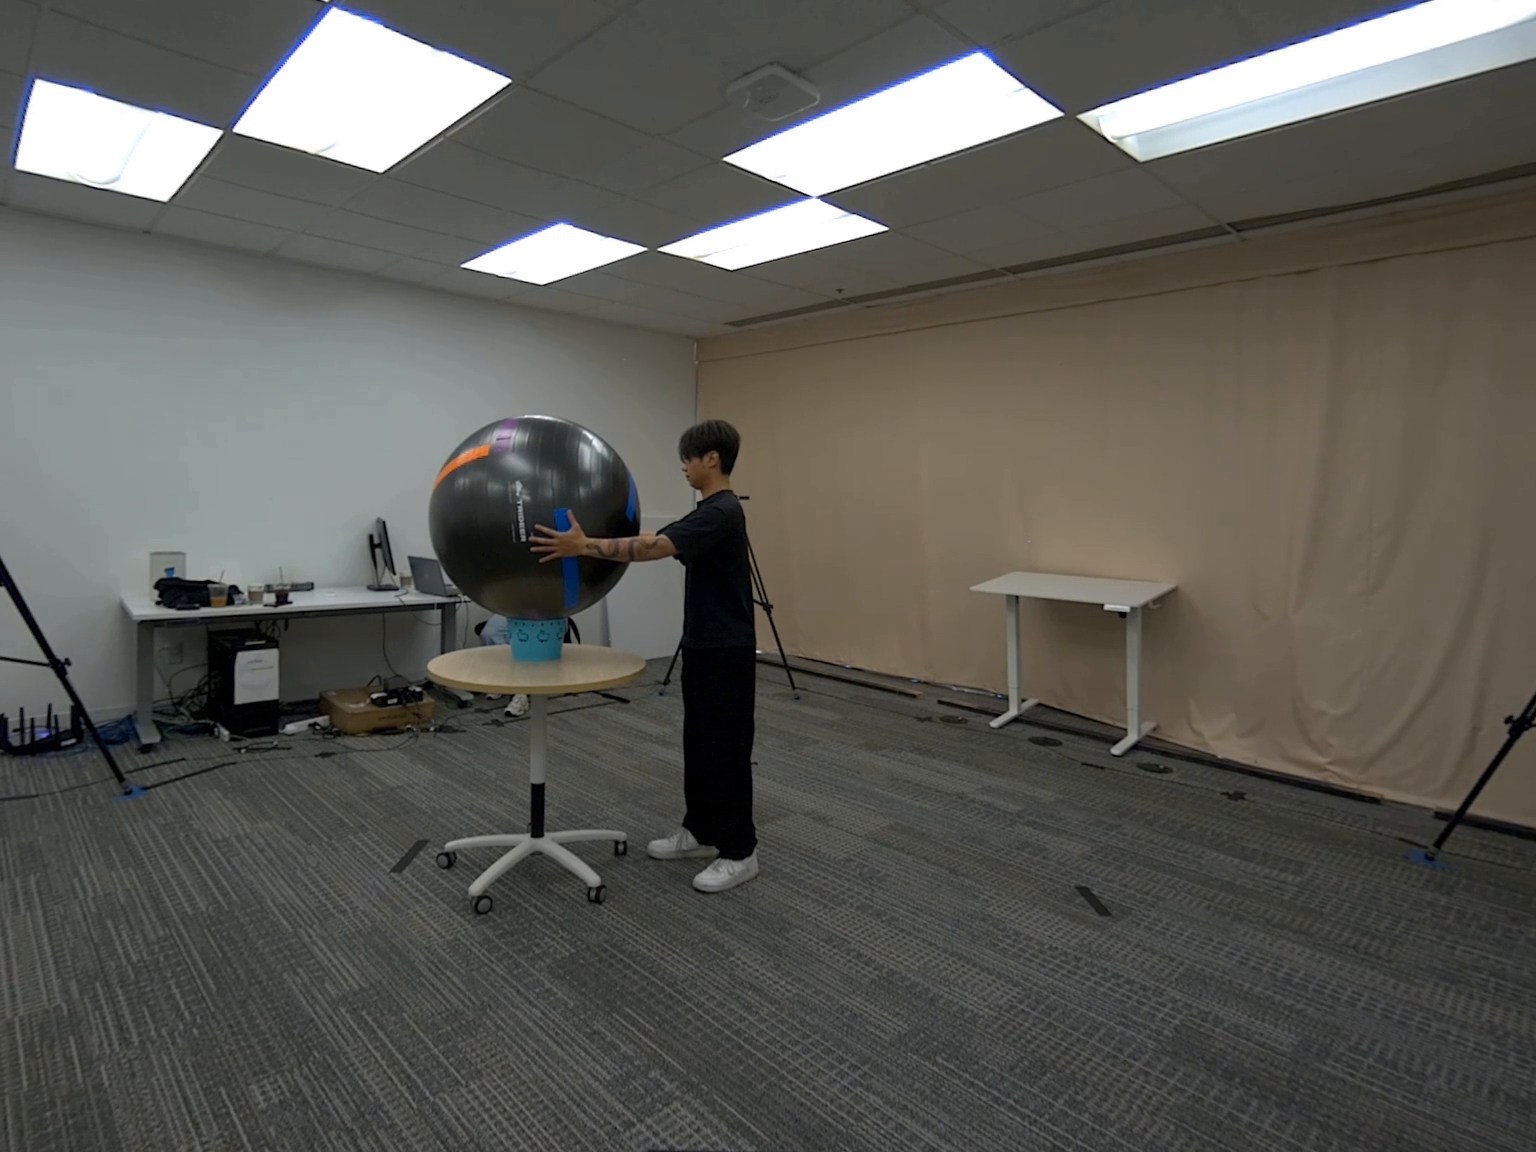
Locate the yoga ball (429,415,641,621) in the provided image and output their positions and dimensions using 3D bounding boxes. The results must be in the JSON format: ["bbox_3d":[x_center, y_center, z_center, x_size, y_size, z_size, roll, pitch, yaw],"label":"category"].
[{"bbox_3d":[-0.862,-0.209,3.112,0.757,0.756,0.761,1,4,-1],"label":"yoga ball"}]
